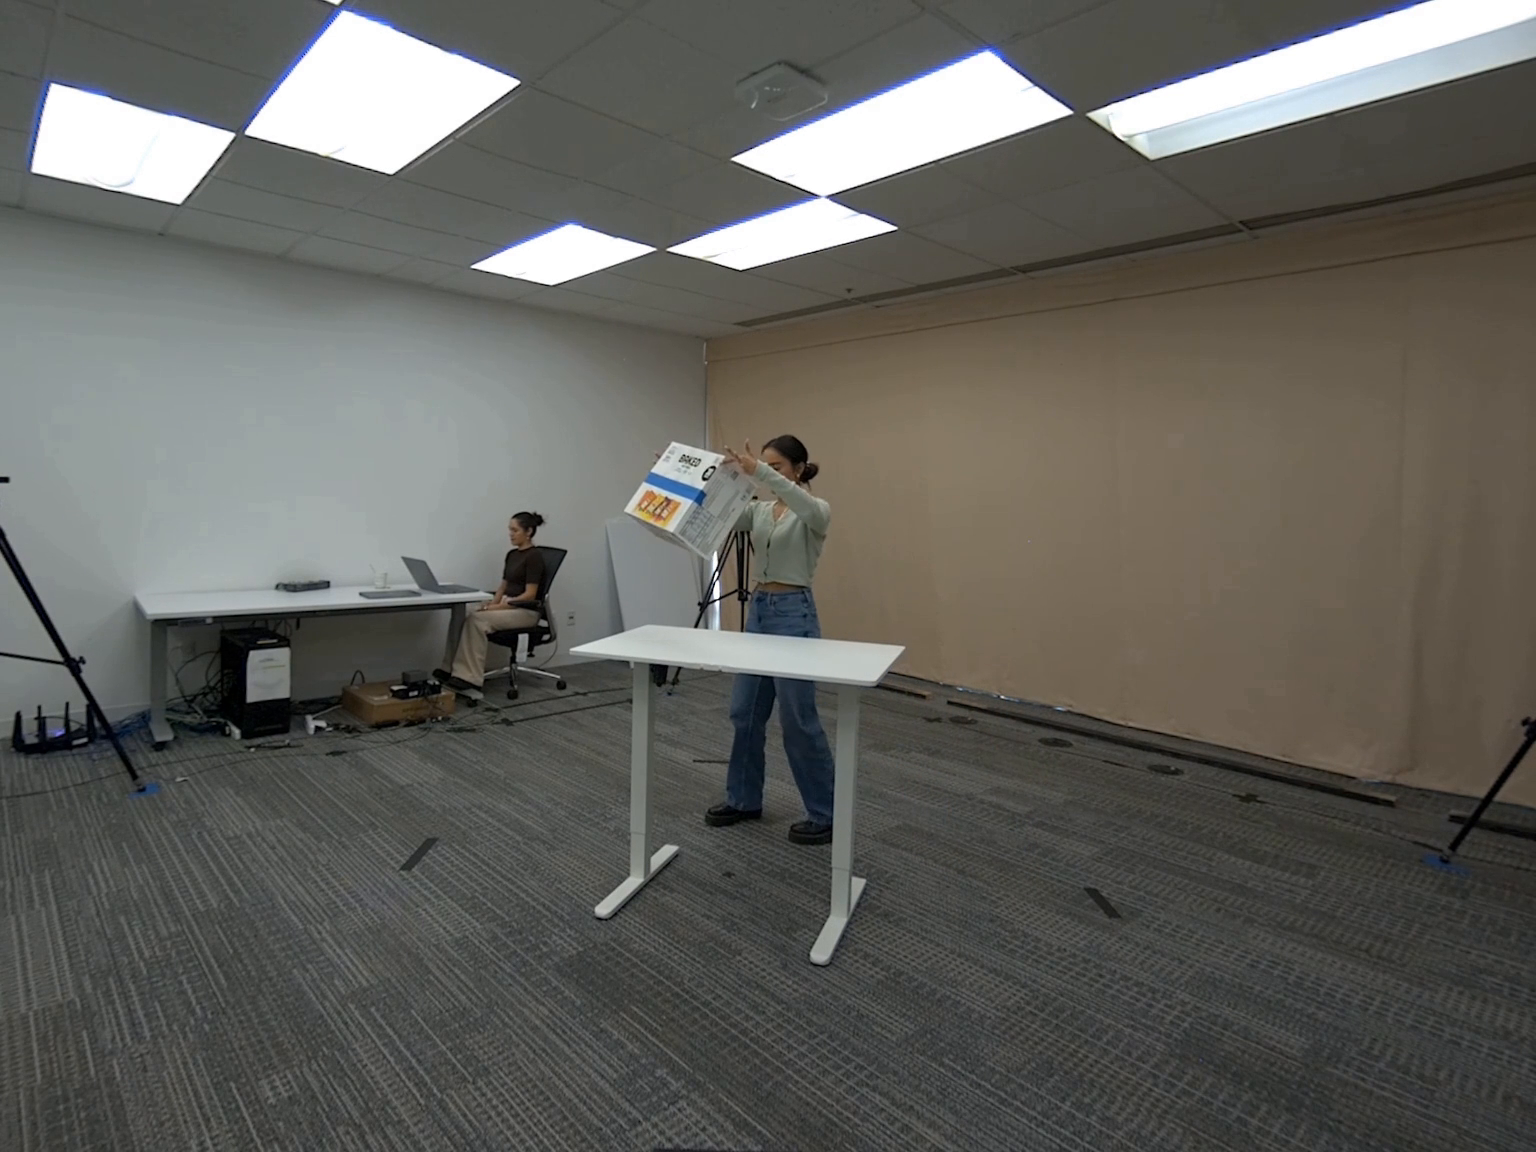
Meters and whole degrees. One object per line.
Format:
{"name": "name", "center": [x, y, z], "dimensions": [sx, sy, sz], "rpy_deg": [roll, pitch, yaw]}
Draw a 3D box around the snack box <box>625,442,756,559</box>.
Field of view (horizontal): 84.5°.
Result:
{"name": "snack box", "center": [-0.303, -0.292, 3.226], "dimensions": [0.199, 0.341, 0.417], "rpy_deg": [39, -9, -37]}
